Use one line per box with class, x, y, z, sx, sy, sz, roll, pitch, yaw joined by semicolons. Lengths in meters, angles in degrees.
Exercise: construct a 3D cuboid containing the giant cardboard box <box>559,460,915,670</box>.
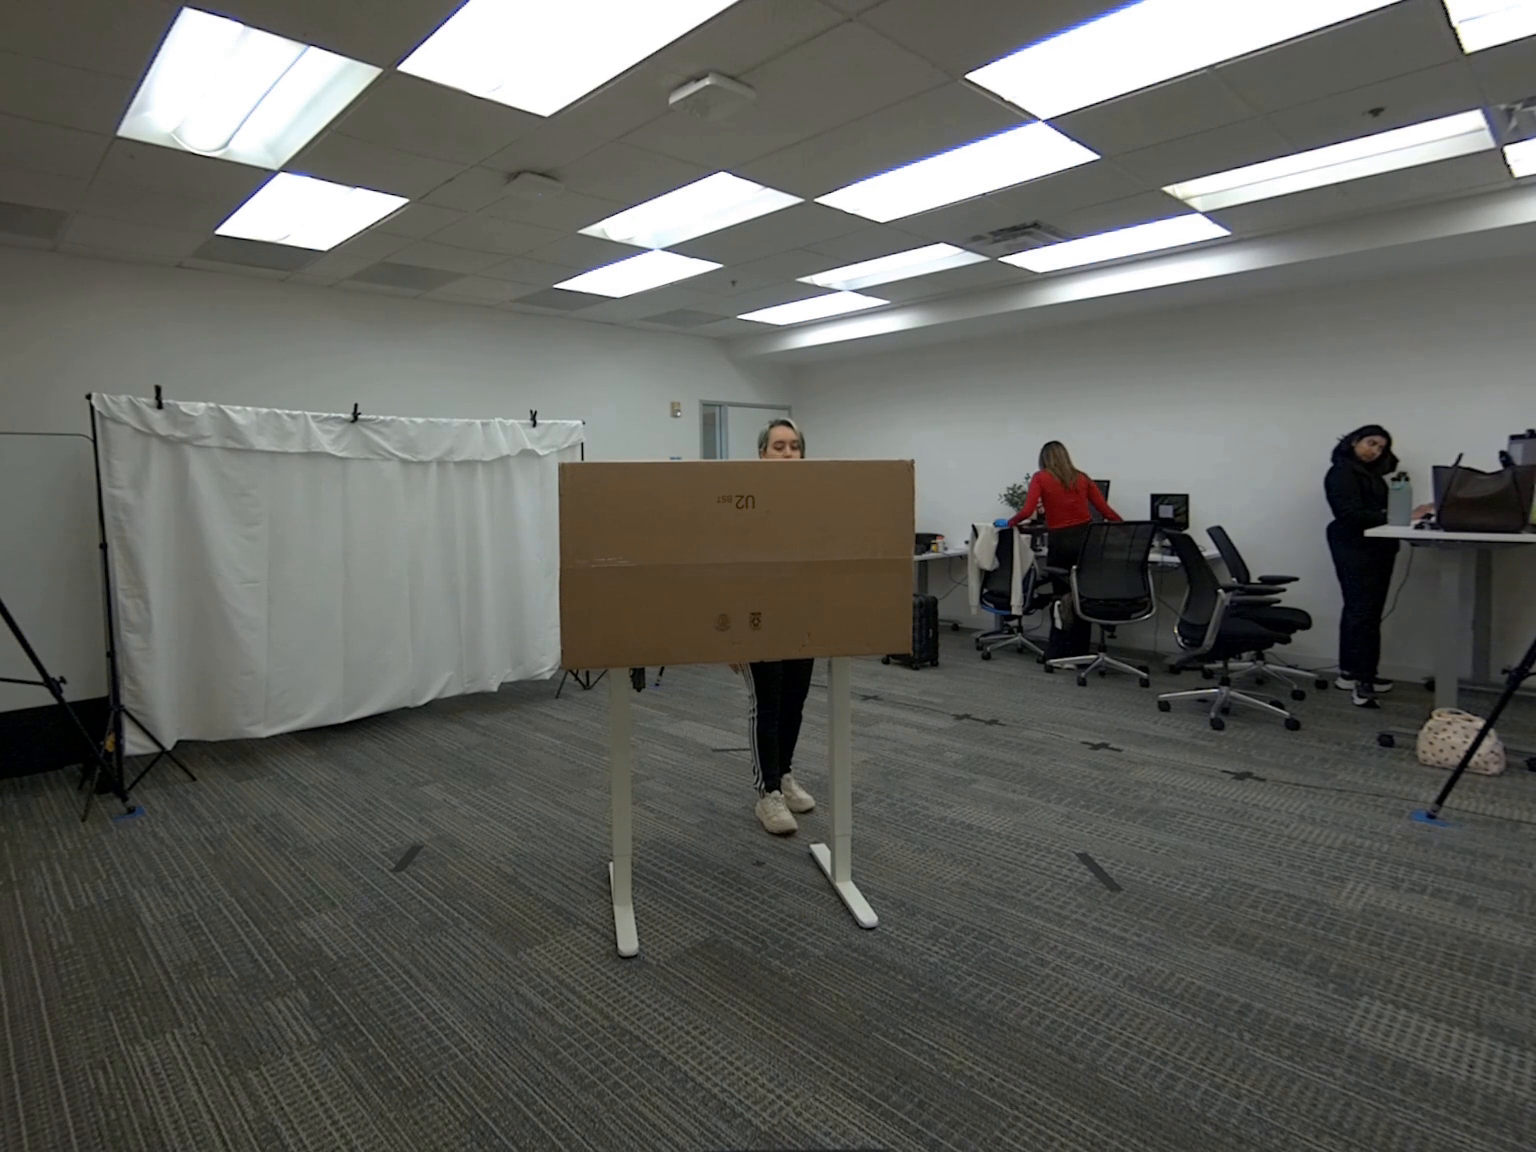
giant cardboard box;-0.118;-0.068;2.612;1.017;0.582;0.452;-1;4;-10
